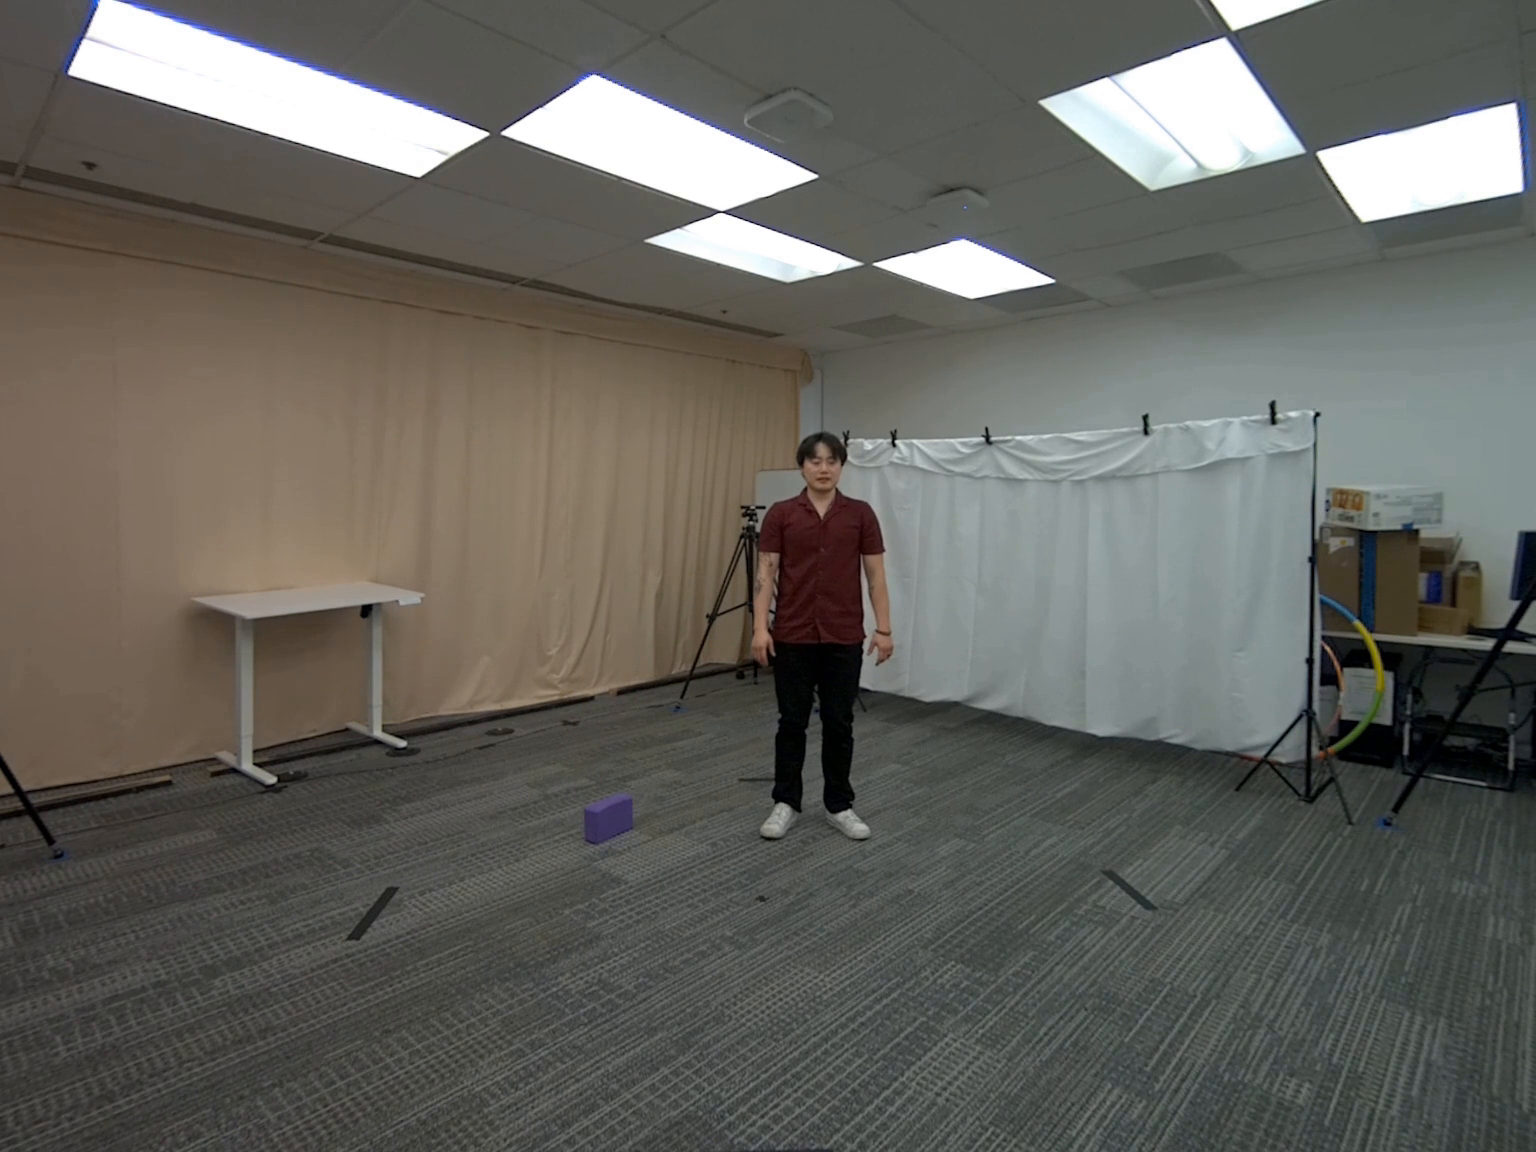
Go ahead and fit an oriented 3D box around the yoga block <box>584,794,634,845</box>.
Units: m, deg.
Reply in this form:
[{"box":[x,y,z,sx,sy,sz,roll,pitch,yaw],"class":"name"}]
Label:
[{"box":[-0.674,1.024,3.576,0.079,0.148,0.223,4,6,35],"class":"yoga block"}]
